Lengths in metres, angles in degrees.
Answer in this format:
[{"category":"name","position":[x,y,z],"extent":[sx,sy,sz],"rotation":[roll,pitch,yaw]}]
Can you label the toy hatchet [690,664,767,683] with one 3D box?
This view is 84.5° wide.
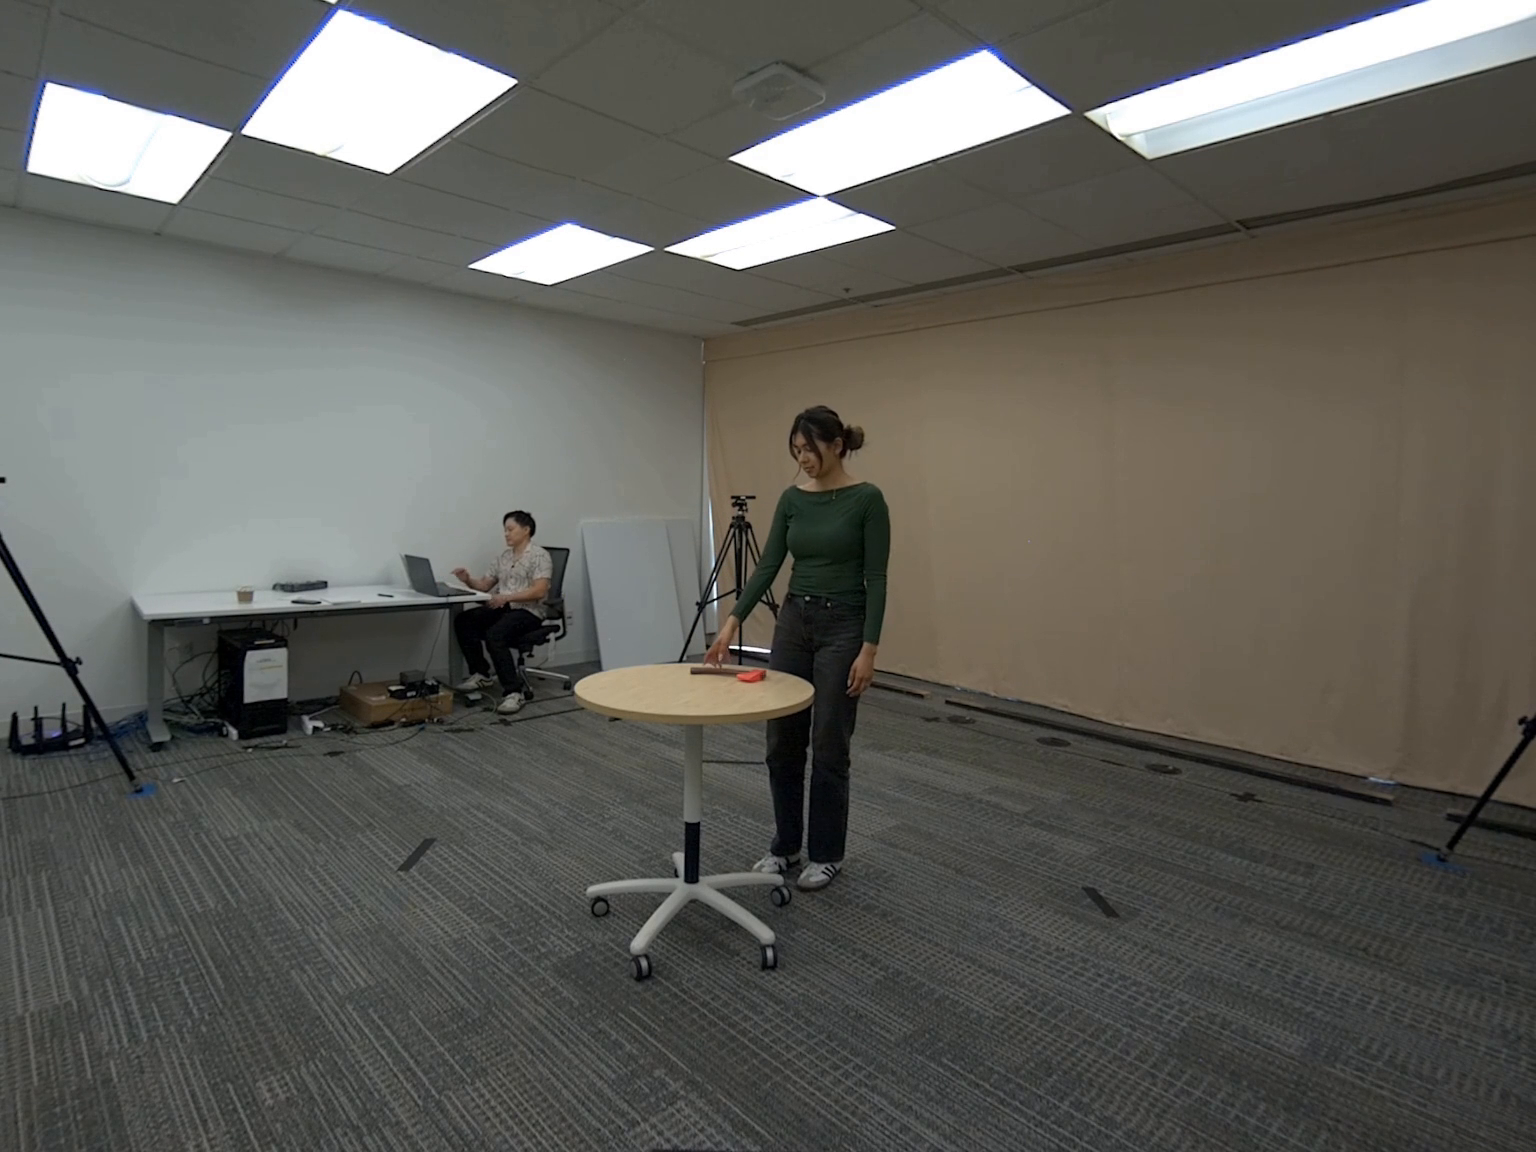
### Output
[{"category":"toy hatchet","position":[-0.144,0.335,2.832],"extent":[0.272,0.029,0.131],"rotation":[0,9,8]}]
